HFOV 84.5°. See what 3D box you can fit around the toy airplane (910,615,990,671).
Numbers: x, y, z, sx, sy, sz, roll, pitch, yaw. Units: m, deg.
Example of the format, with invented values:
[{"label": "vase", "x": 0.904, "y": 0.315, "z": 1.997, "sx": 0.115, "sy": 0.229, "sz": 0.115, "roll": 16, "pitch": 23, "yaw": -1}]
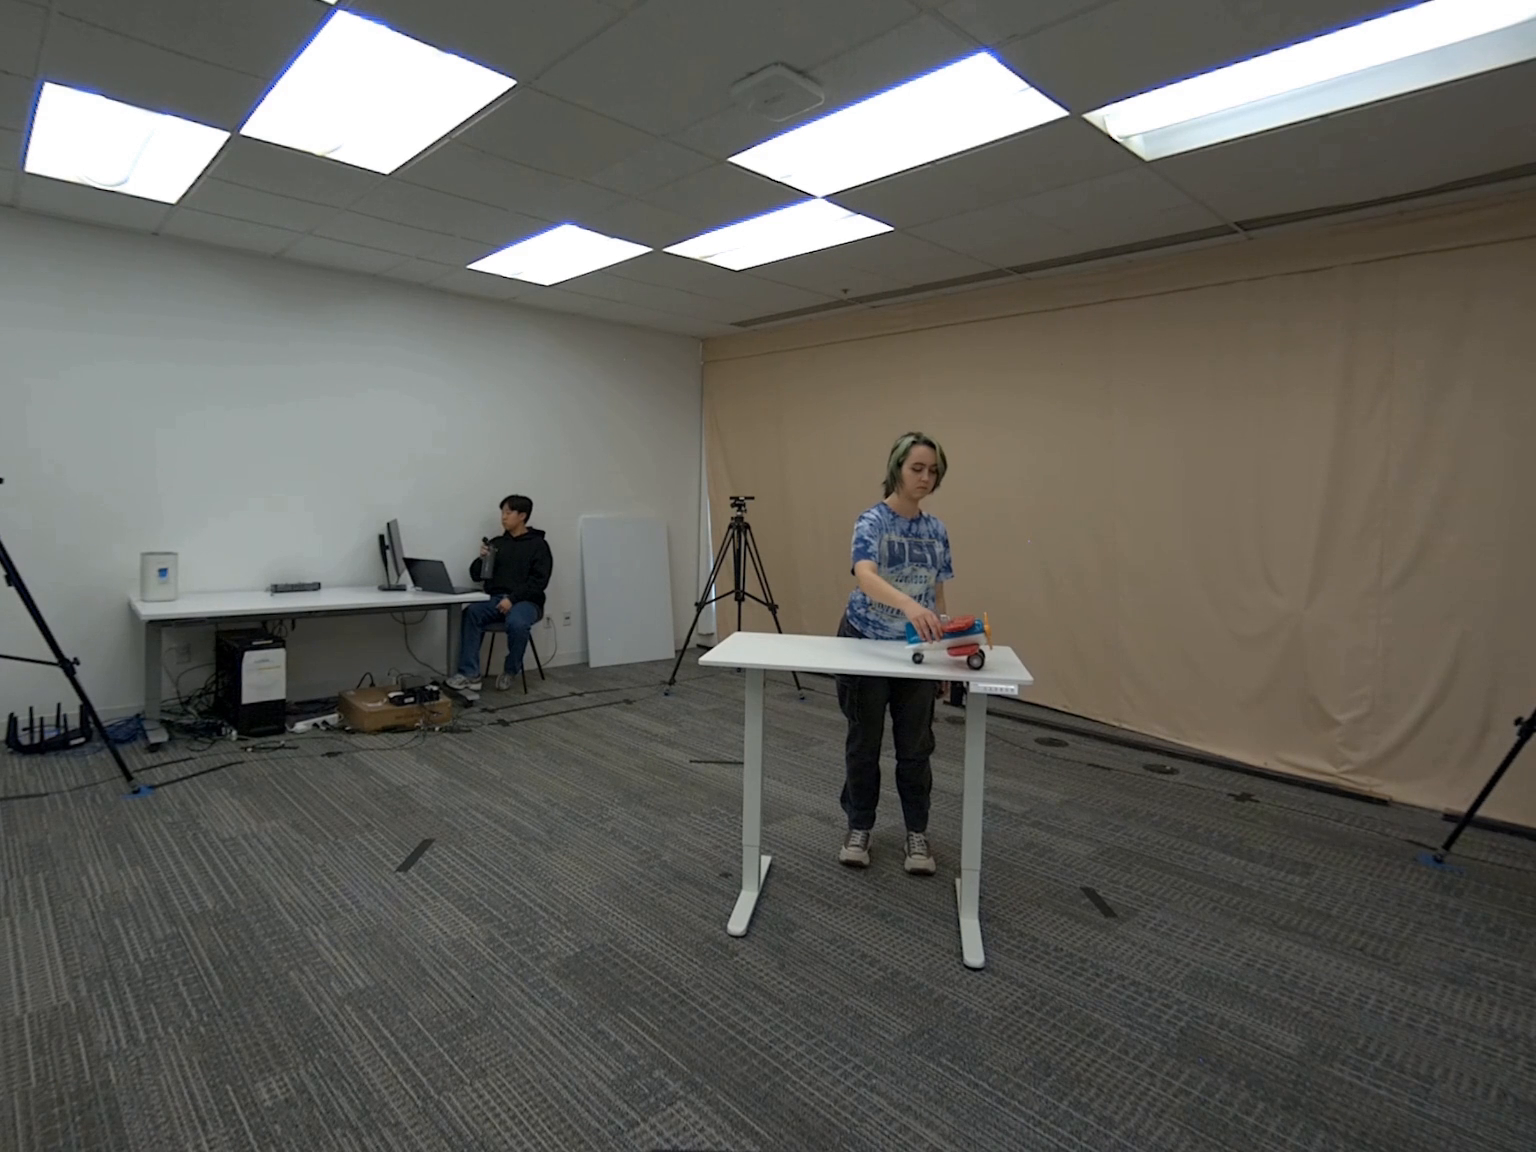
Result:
[{"label": "toy airplane", "x": 0.553, "y": 0.205, "z": 2.610, "sx": 0.257, "sy": 0.156, "sz": 0.254, "roll": 2, "pitch": 5, "yaw": -12}]
